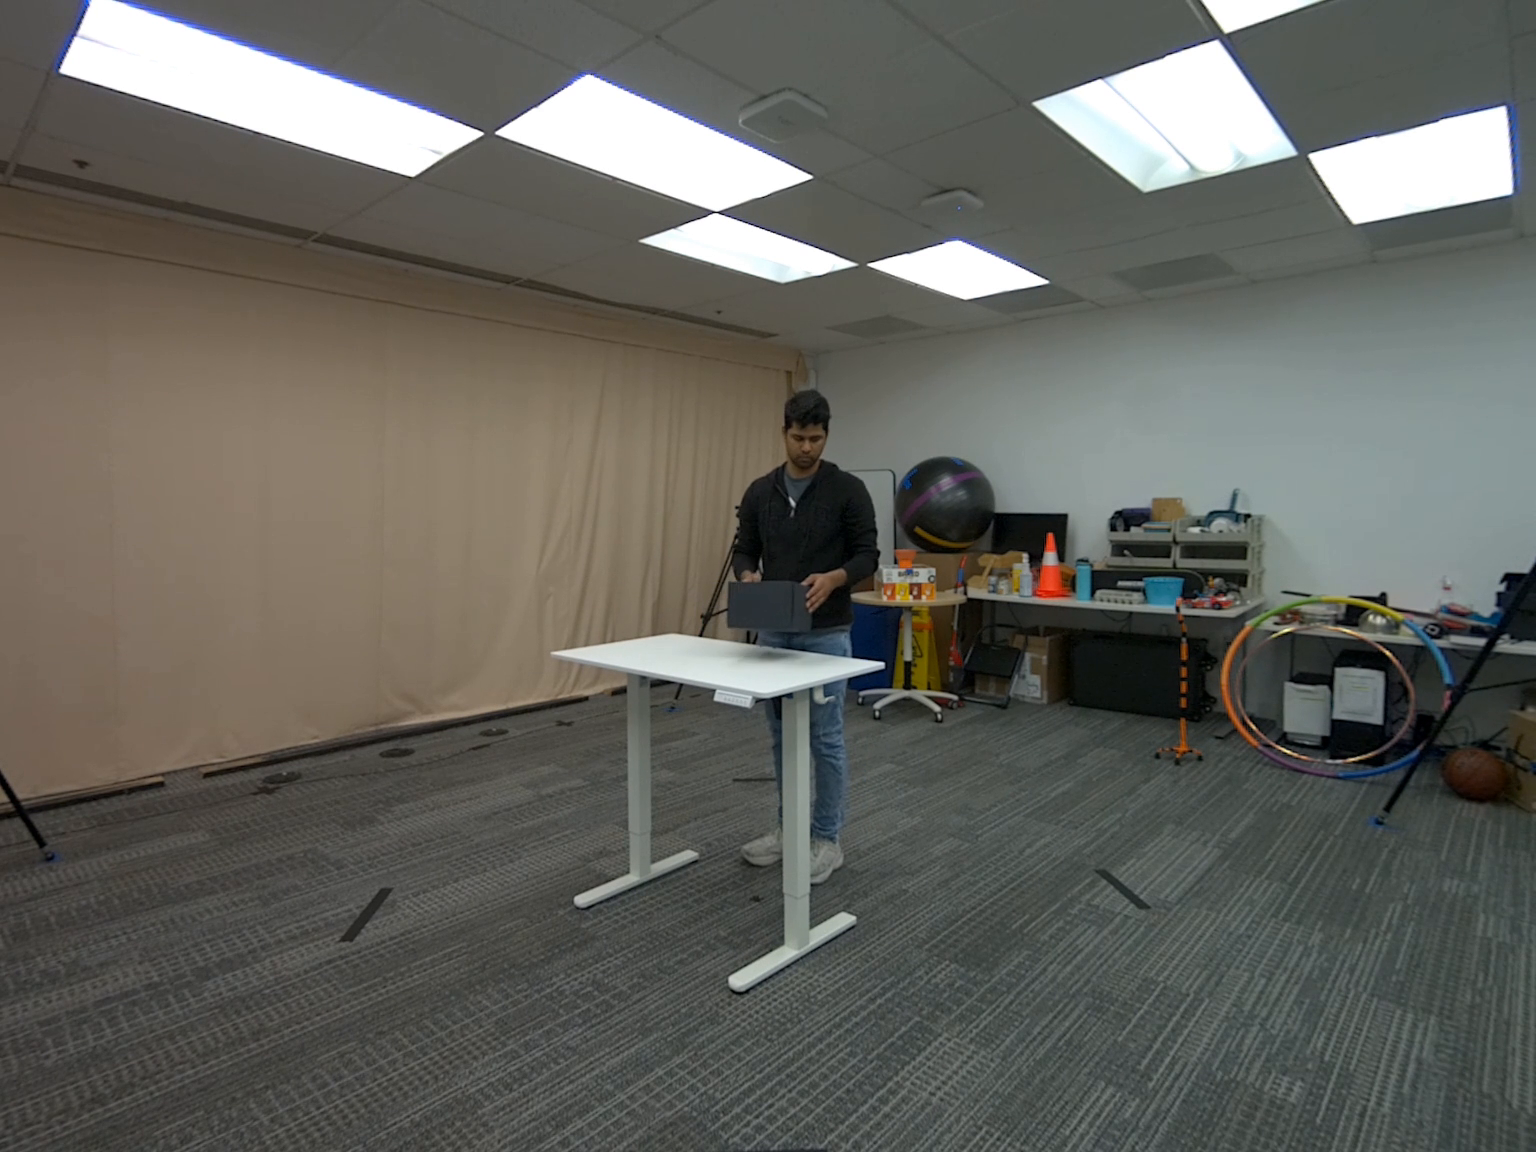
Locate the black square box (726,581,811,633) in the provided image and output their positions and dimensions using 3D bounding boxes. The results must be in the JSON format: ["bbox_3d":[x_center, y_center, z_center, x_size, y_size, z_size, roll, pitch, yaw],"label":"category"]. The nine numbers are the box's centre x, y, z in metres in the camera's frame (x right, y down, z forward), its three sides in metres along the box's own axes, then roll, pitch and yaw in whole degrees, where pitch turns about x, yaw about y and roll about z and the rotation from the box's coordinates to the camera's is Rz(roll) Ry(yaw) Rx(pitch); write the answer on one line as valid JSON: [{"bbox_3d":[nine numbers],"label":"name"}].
[{"bbox_3d":[0.018,0.112,2.842,0.233,0.156,0.211,0,-6,20],"label":"black square box"}]
